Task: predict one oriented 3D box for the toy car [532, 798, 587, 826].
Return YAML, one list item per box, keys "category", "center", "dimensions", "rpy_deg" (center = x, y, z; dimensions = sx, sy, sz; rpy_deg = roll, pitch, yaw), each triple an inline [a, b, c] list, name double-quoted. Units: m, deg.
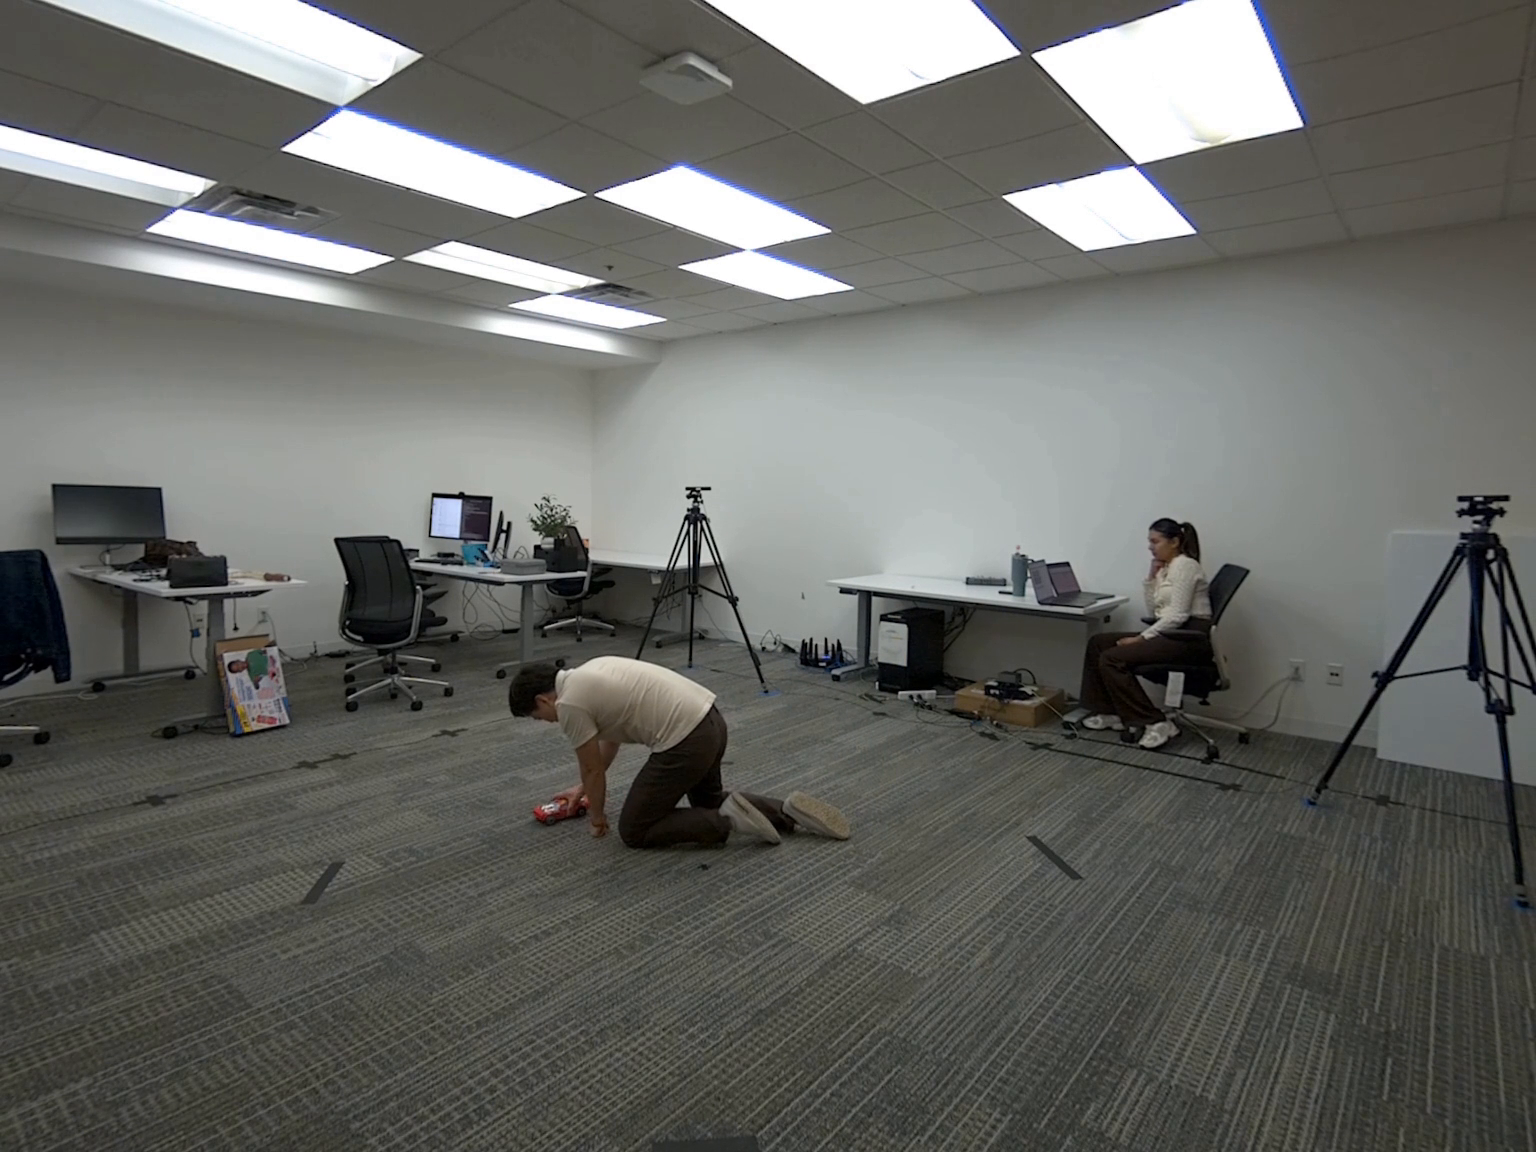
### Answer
- category: "toy car"
  center: [-0.876, 0.983, 3.591]
  dimensions: [0.248, 0.082, 0.134]
  rpy_deg: [-13, 11, -38]
